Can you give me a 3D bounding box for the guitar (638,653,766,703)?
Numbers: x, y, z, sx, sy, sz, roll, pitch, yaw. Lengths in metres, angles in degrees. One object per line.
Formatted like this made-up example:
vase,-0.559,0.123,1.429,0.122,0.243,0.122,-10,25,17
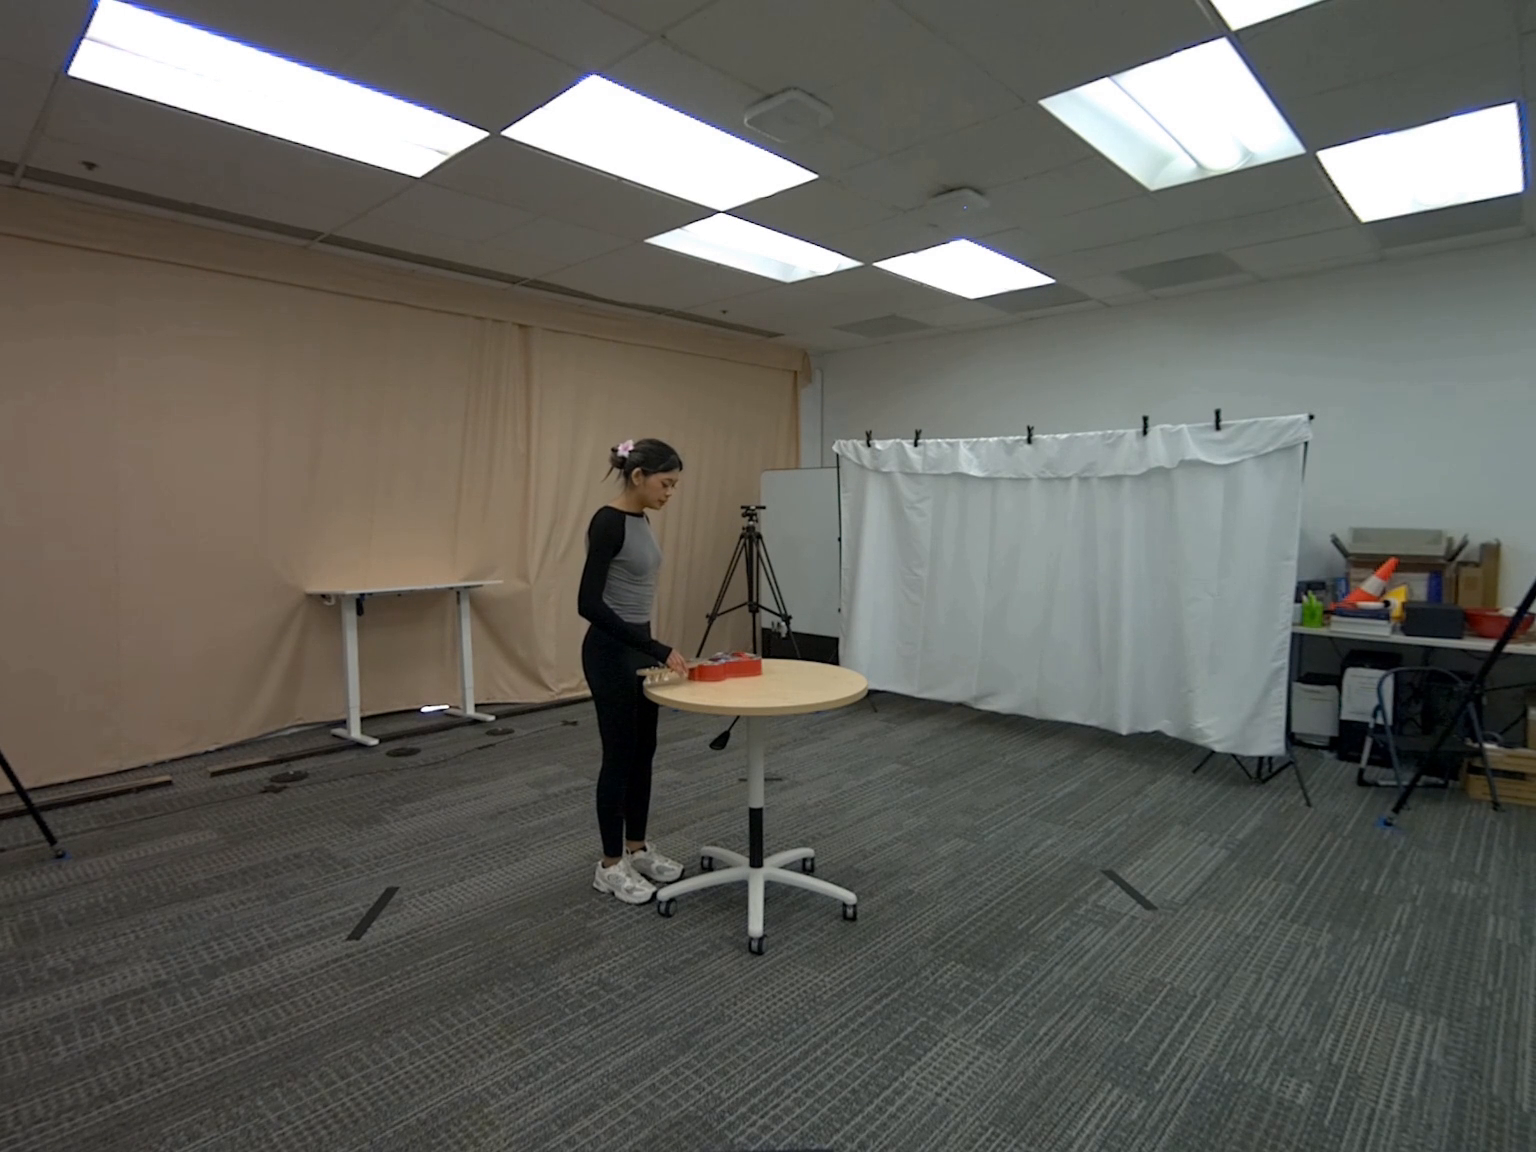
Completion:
guitar,-0.261,0.326,2.936,0.484,0.070,0.199,-3,6,-32
